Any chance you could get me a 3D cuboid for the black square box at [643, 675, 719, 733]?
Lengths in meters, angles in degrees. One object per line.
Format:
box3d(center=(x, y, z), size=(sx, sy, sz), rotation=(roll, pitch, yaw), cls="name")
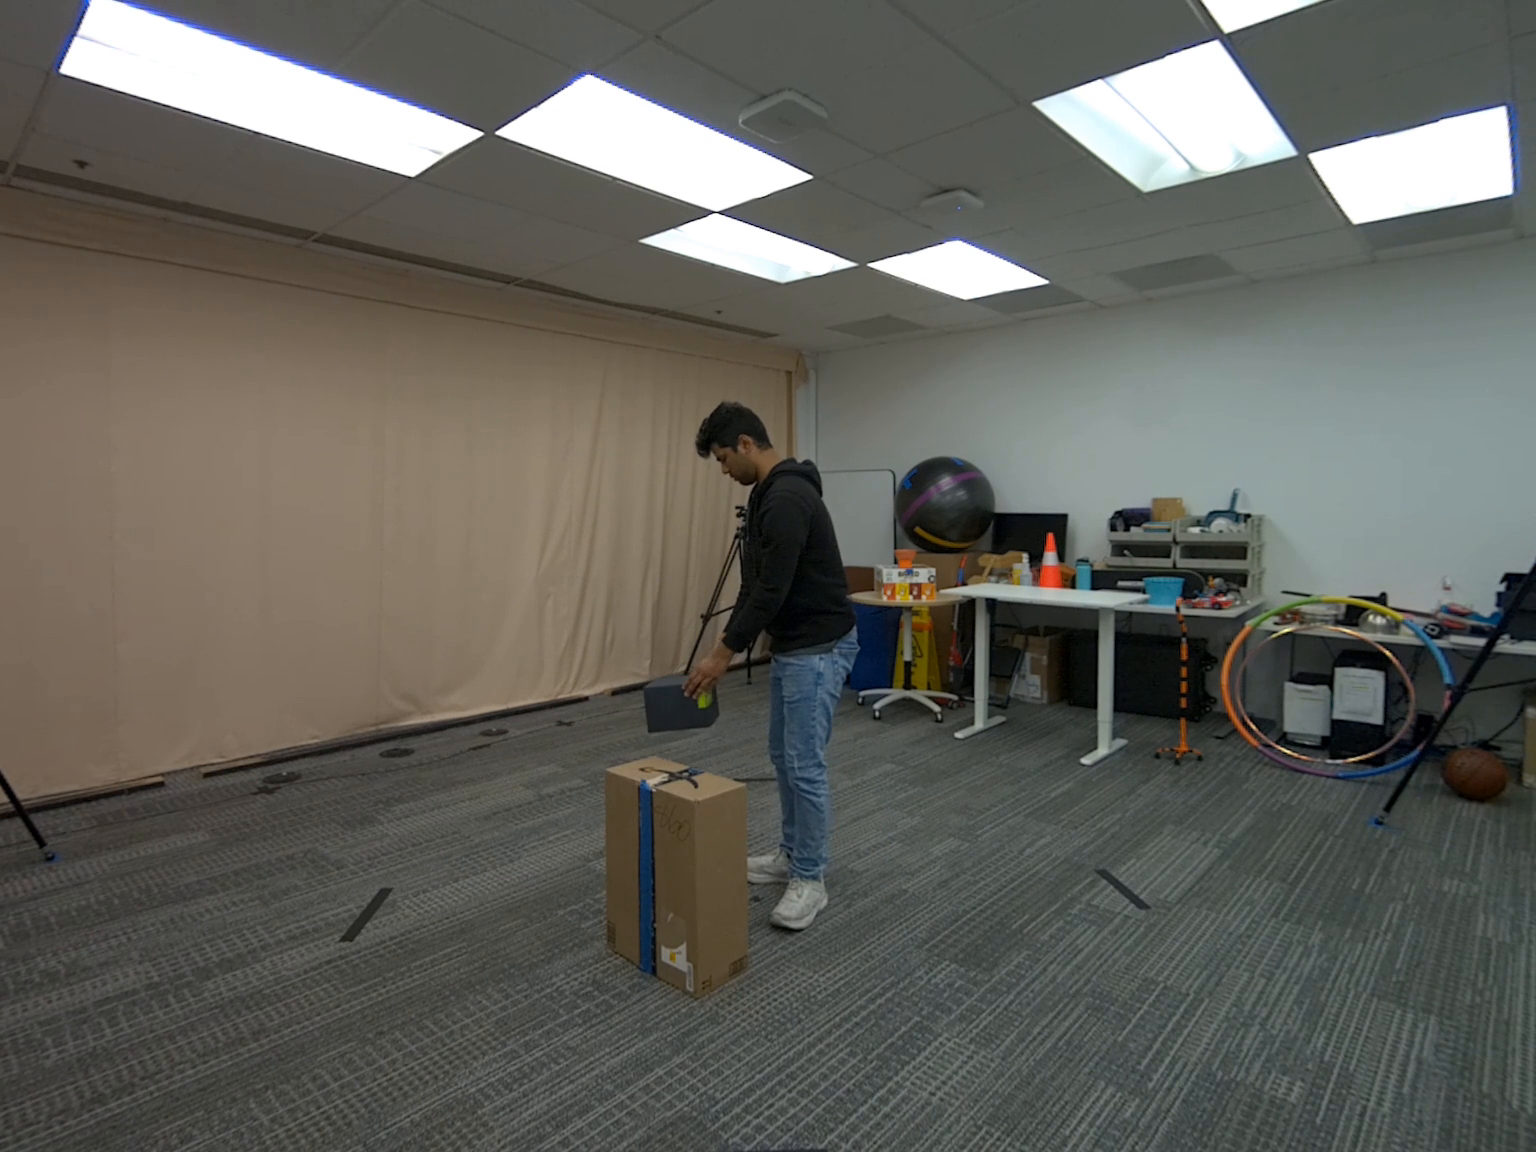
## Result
box3d(center=(-0.304, 0.444, 2.960), size=(0.218, 0.156, 0.226), rotation=(-6, 0, 5), cls="black square box")
